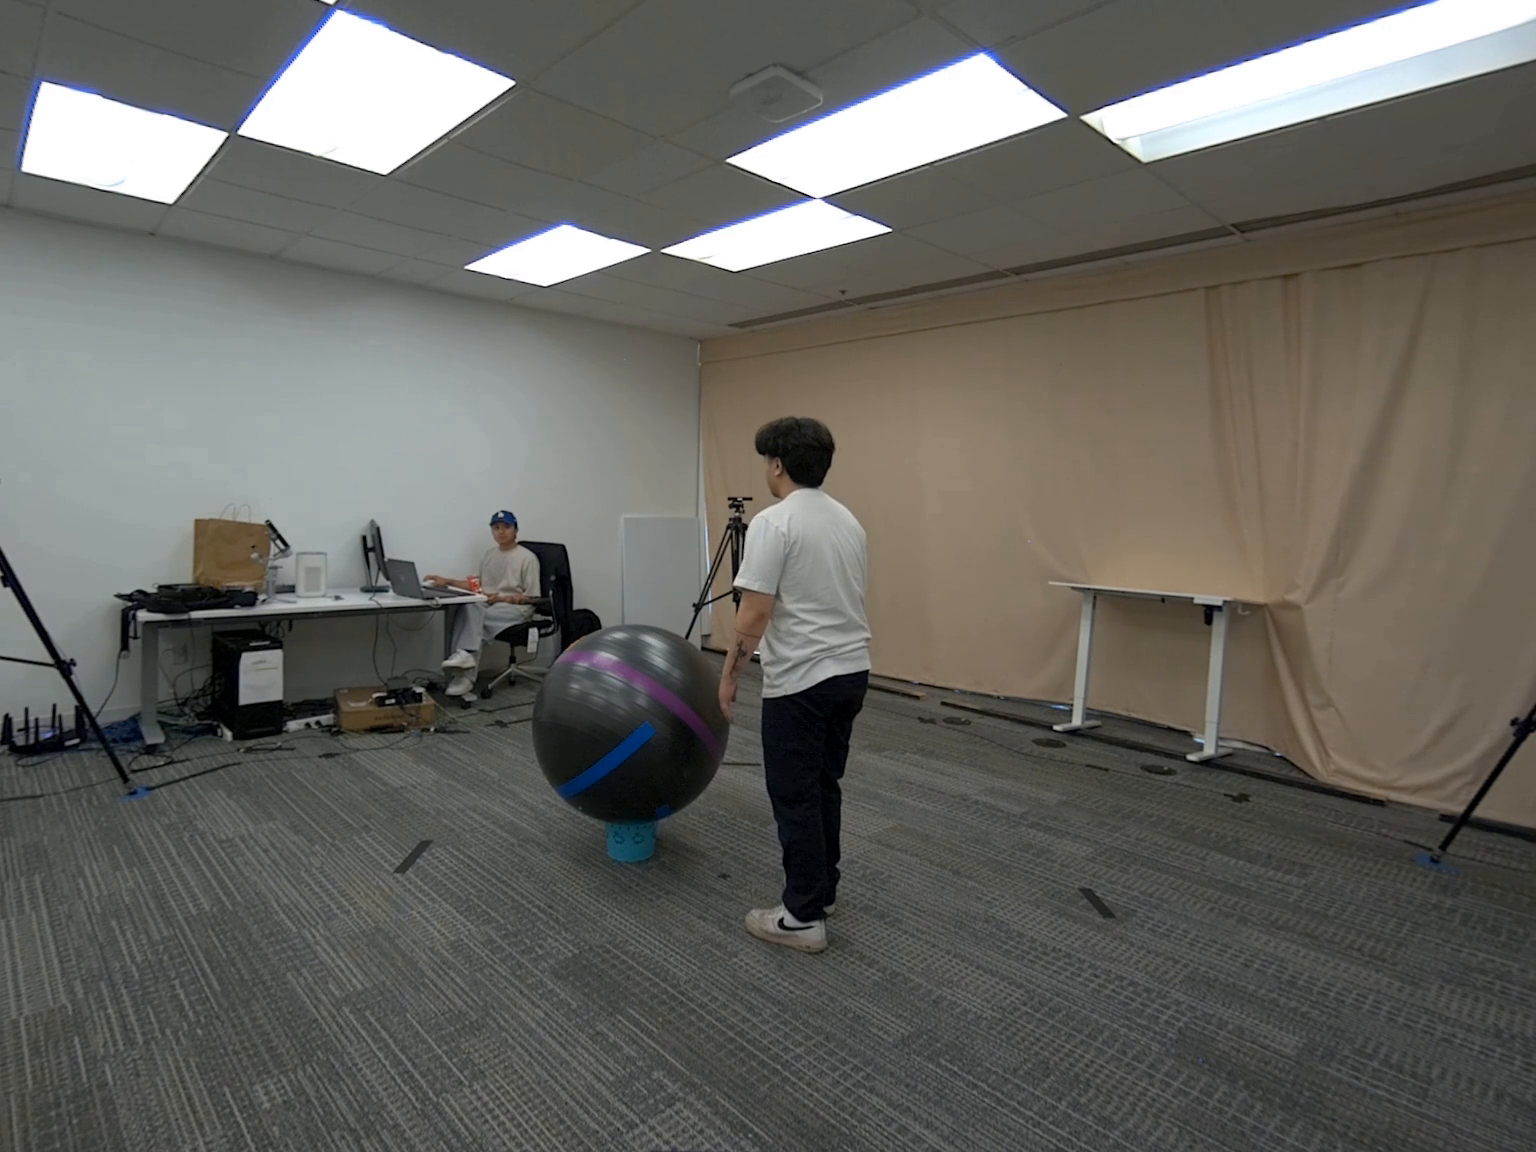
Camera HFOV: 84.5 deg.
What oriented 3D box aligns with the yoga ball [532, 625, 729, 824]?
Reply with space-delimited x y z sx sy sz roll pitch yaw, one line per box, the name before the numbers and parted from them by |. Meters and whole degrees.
yoga ball | -0.531 0.569 3.281 0.757 0.756 0.760 1 4 -1
